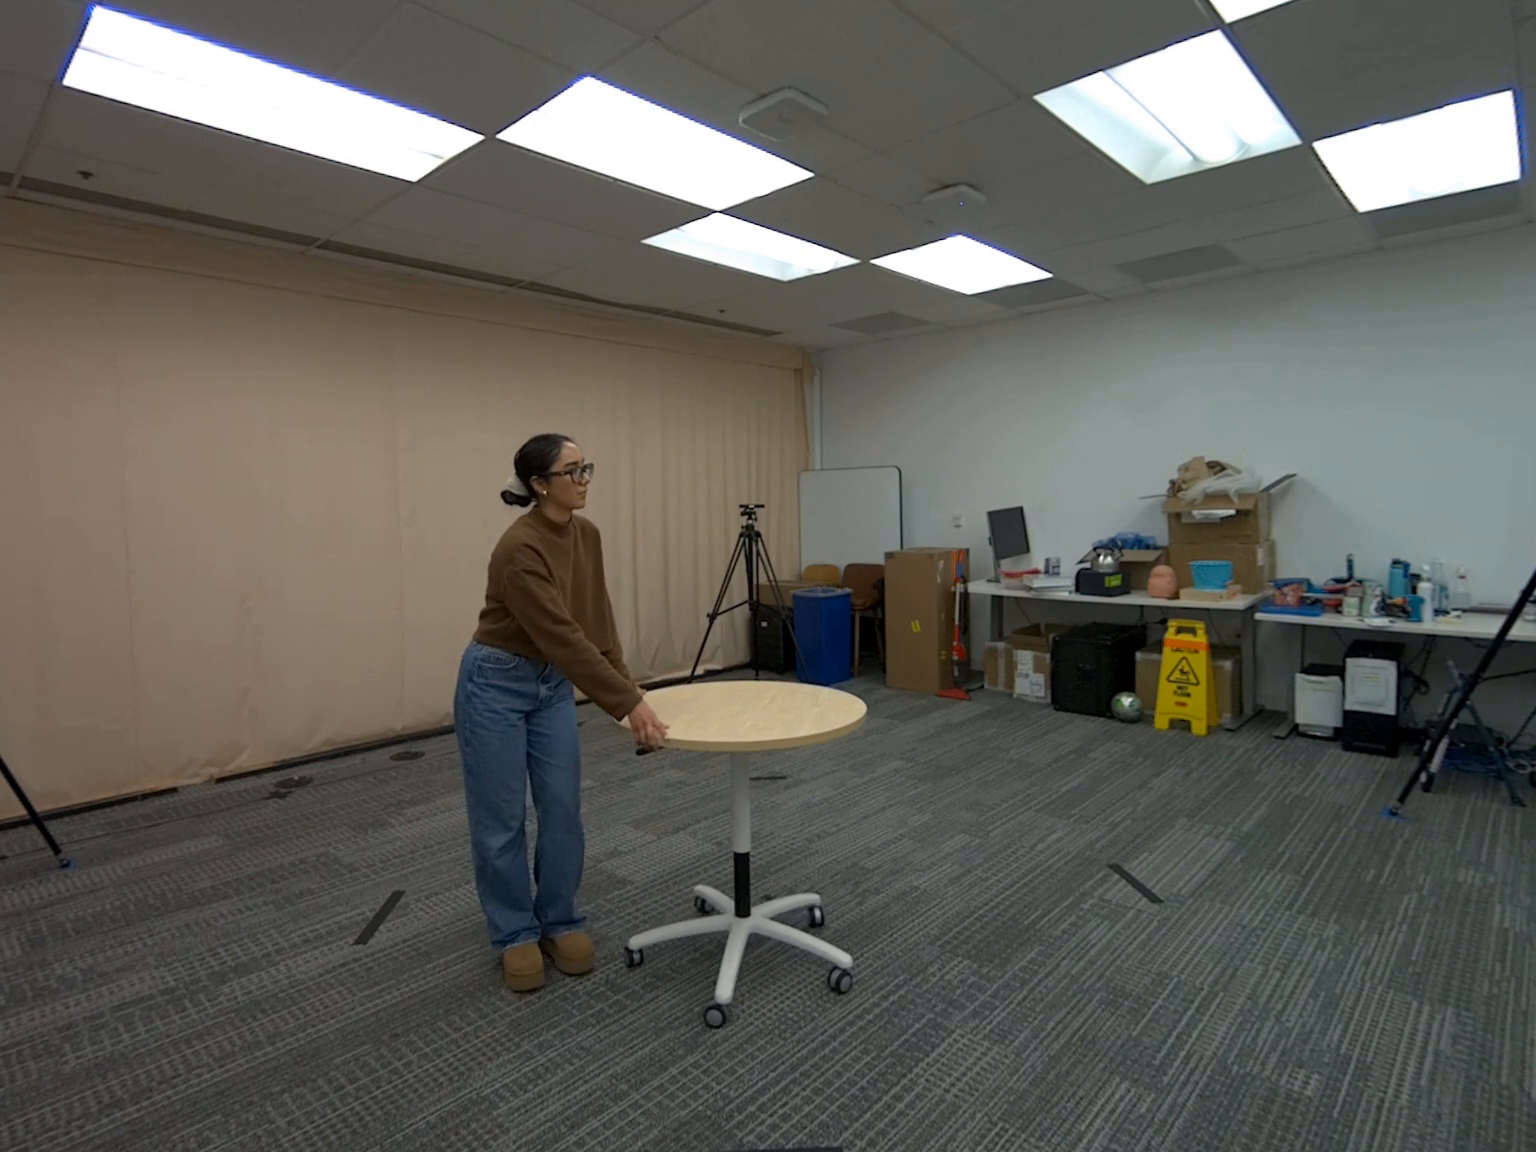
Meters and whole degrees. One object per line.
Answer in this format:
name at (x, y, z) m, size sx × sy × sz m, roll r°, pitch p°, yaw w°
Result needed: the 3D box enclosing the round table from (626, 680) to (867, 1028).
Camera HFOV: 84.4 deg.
round table at (-0.092, 0.788, 2.562) m, size 0.784 × 0.785 × 0.788 m, roll -1°, pitch 4°, yaw -2°
